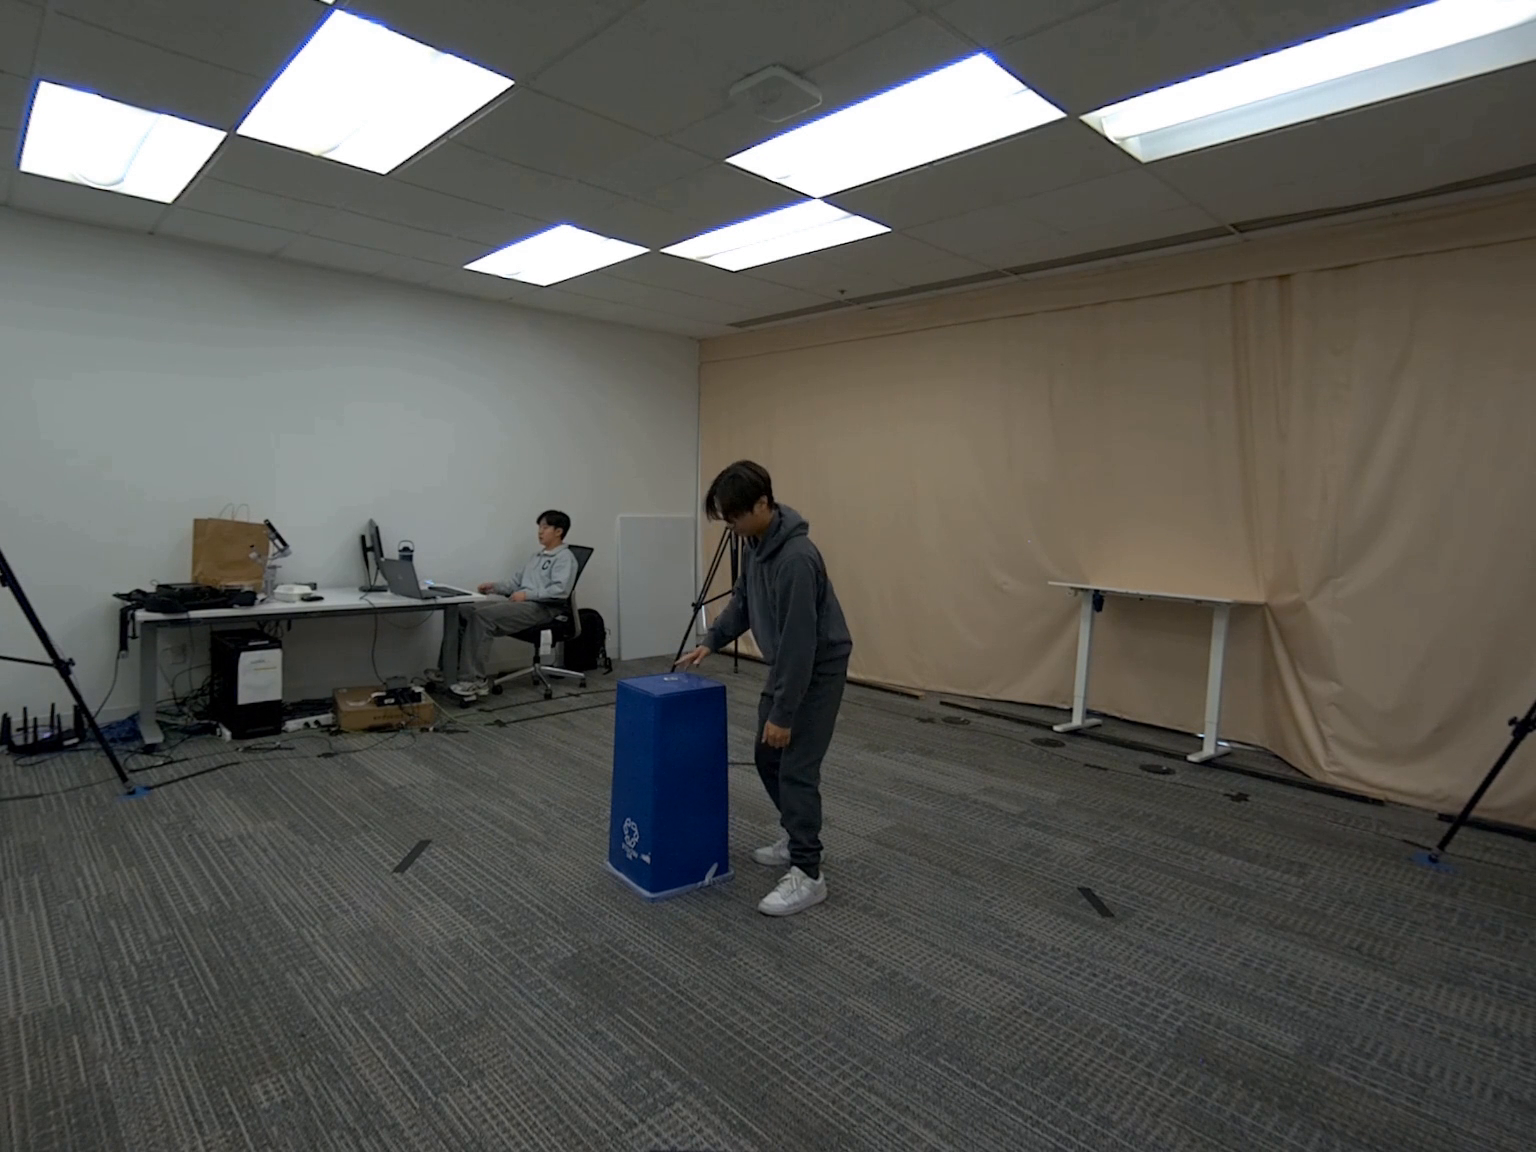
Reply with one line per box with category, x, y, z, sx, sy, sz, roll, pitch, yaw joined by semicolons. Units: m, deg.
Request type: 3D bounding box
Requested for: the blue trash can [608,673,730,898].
blue trash can;-0.372;0.748;3.116;0.370;0.712;0.383;-2;3;-36
